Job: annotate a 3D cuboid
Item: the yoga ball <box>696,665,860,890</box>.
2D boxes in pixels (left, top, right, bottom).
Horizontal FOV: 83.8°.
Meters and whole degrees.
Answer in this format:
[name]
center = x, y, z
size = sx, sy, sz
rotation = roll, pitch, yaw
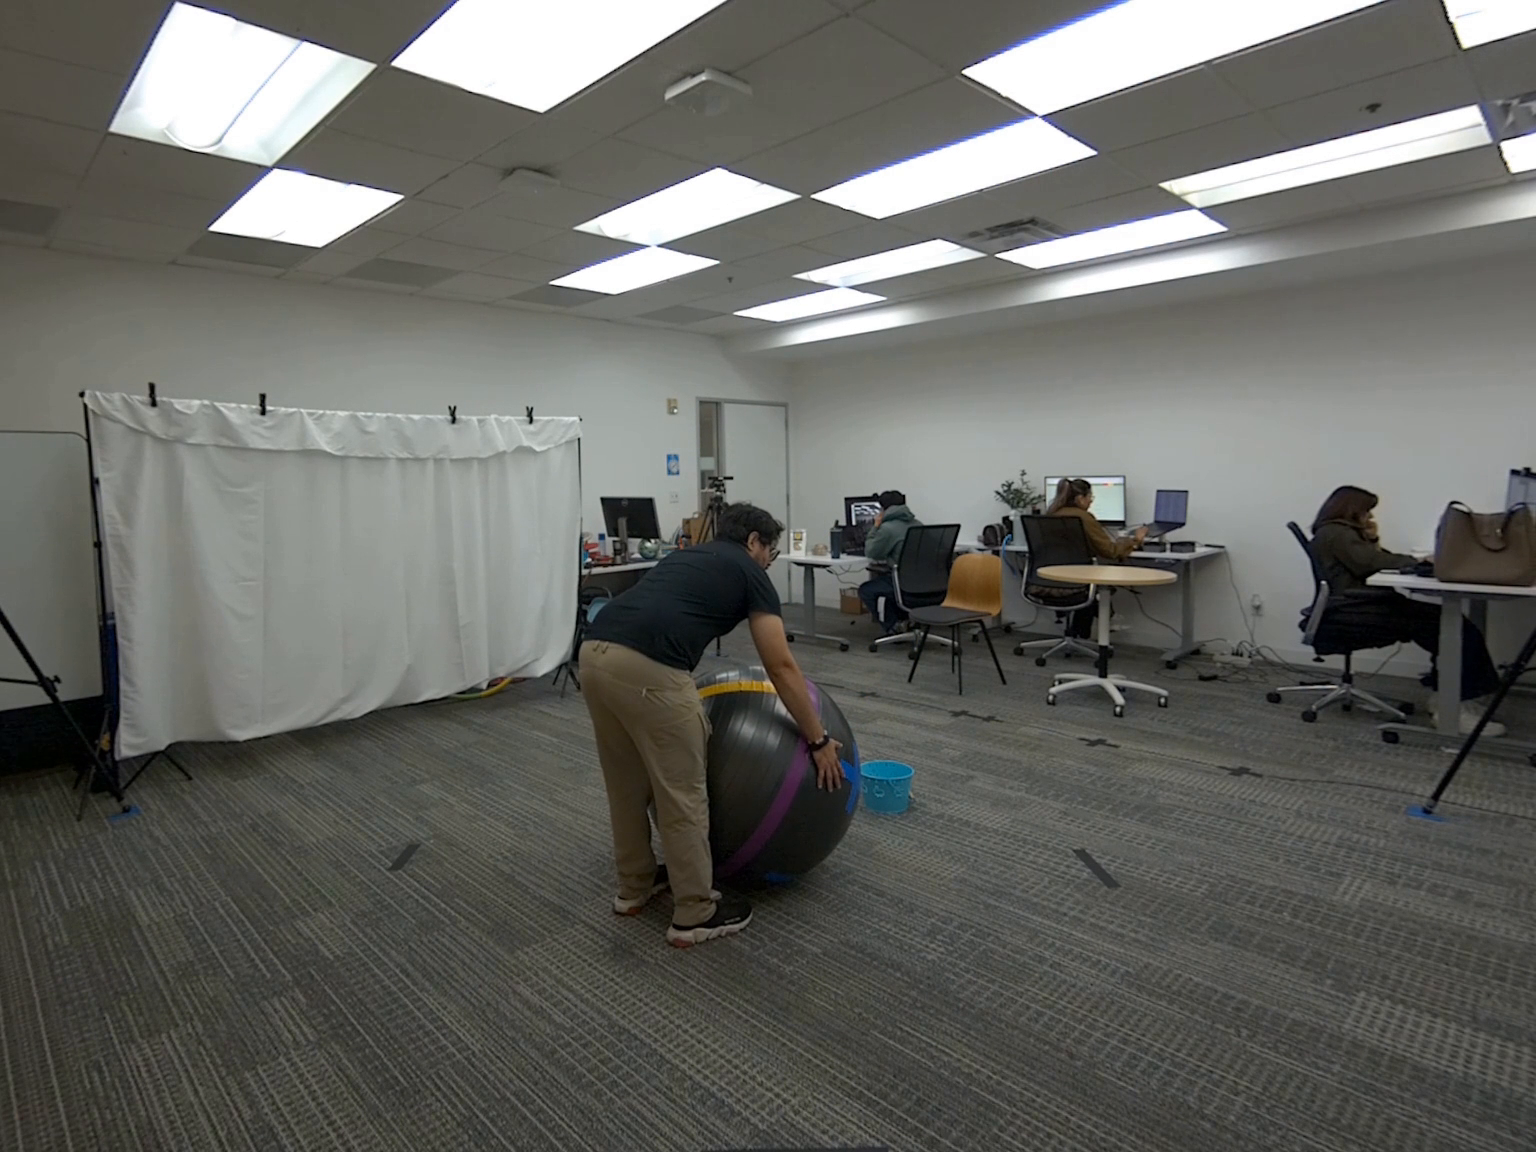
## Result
[yoga ball]
center = -0.058, 0.693, 3.001
size = 0.757, 0.755, 0.762
rotation = -1, 5, -2
